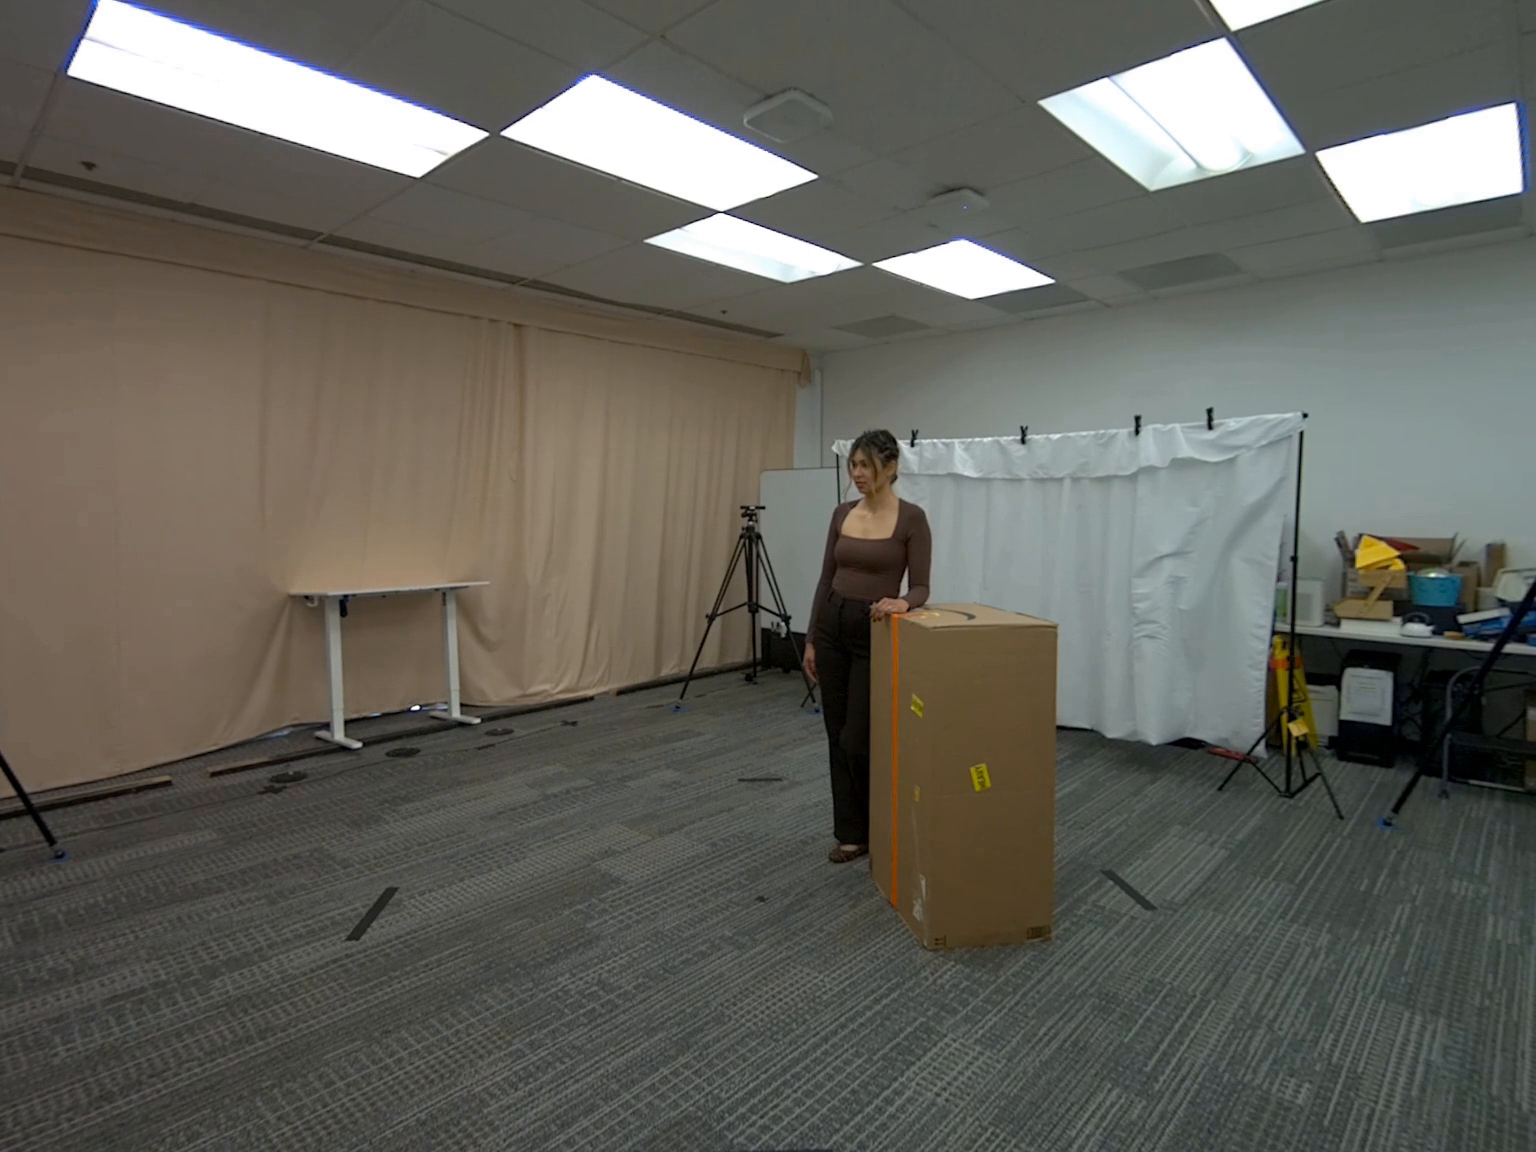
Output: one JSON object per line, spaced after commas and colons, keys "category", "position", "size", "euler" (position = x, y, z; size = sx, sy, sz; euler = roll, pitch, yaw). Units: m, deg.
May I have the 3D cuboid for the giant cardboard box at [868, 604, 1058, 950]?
{"category": "giant cardboard box", "position": [0.651, 0.639, 2.910], "size": [0.442, 1.025, 0.591], "euler": [0, 3, -11]}
